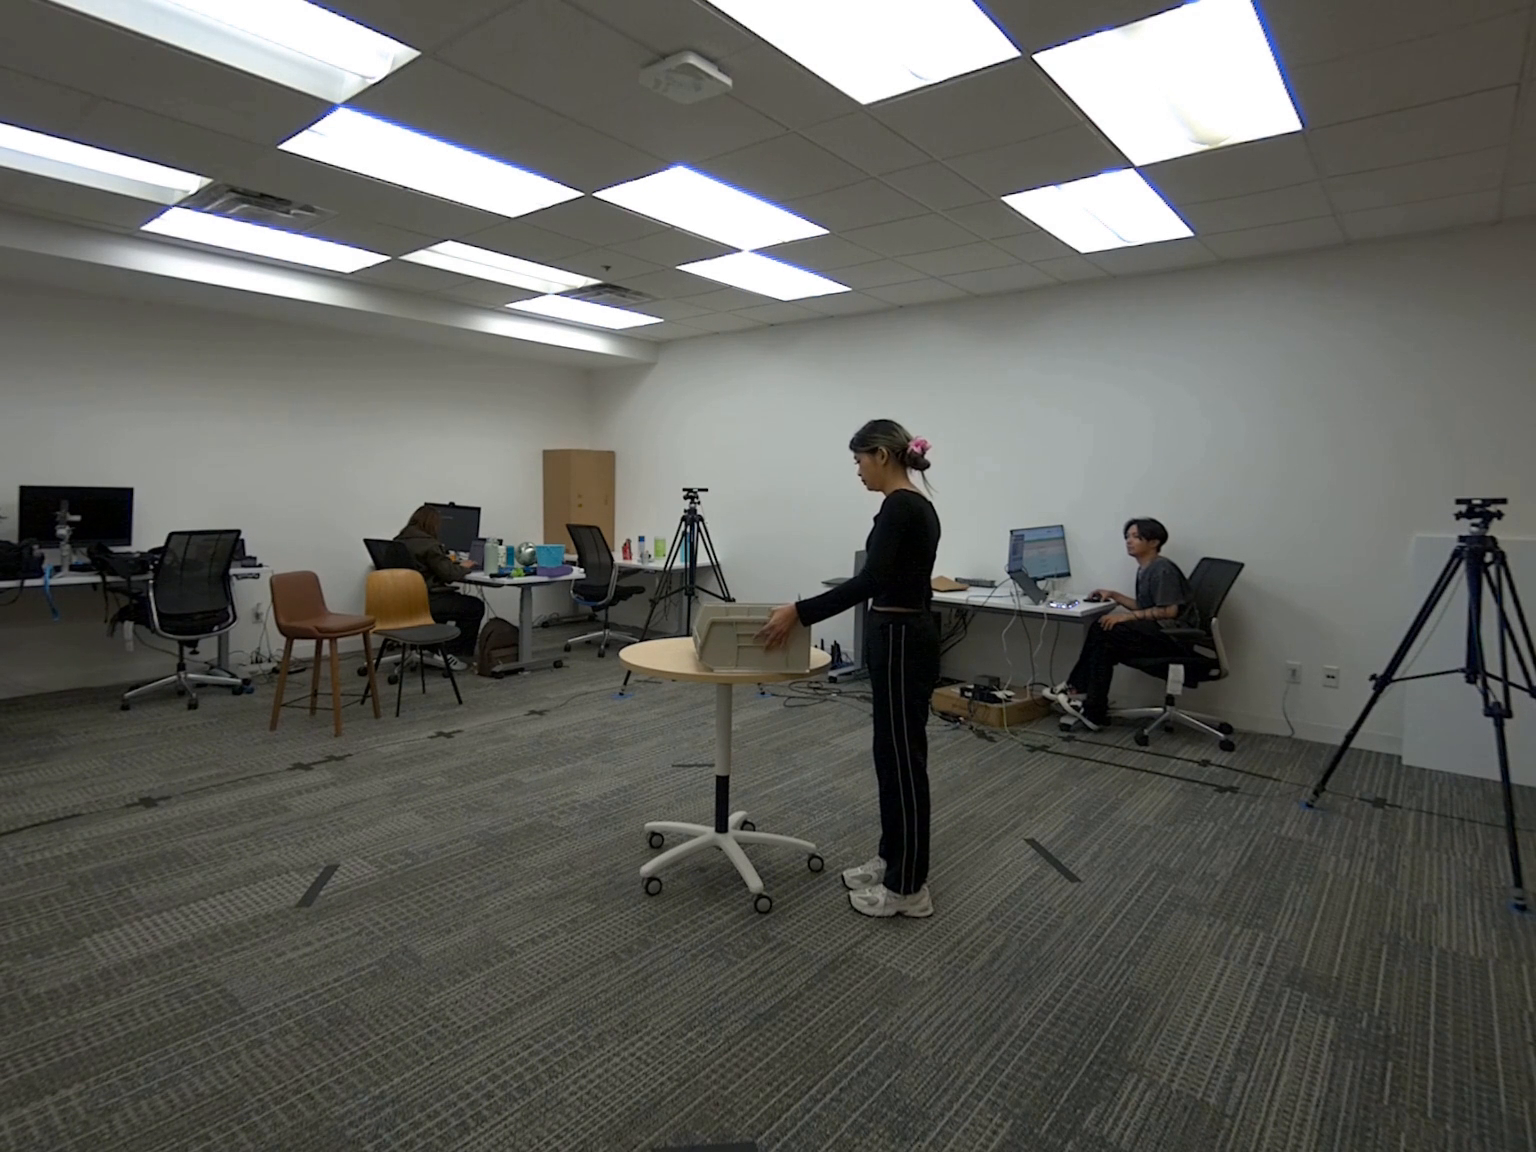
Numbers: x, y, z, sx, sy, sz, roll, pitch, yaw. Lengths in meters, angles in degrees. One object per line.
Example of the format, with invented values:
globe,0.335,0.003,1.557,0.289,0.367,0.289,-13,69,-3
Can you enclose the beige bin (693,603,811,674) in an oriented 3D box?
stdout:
beige bin,-0.081,0.208,2.938,0.374,0.188,0.427,1,4,-8
